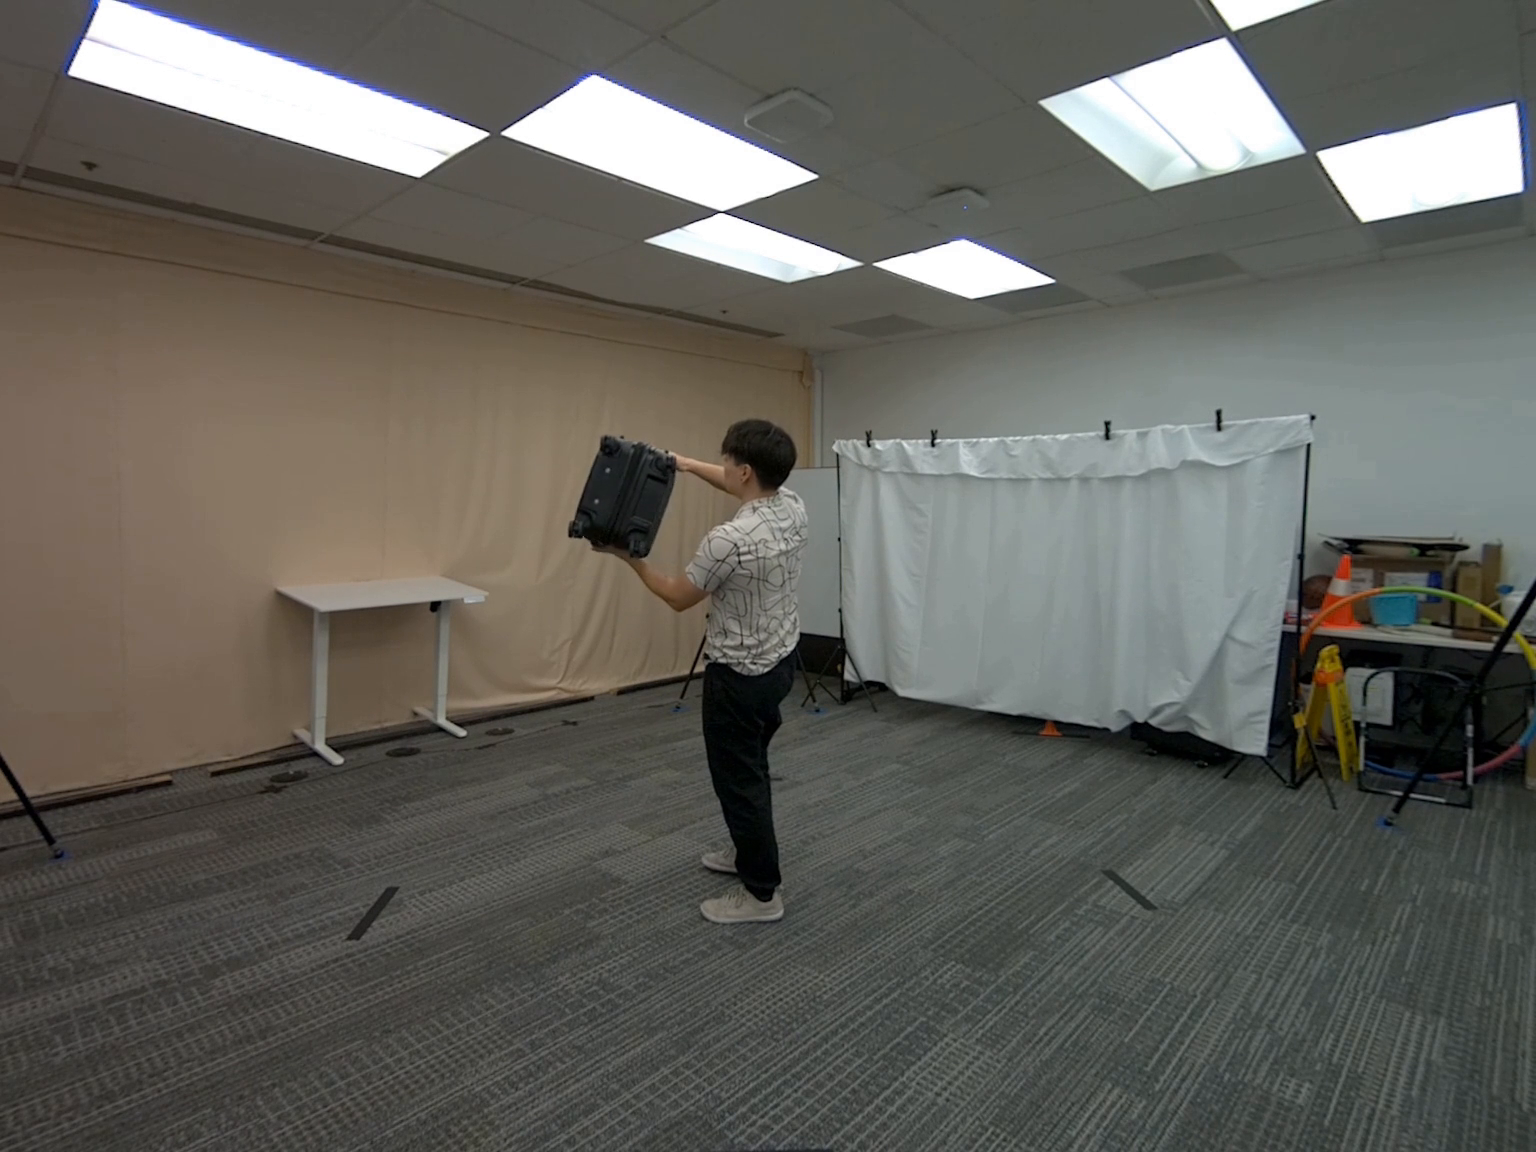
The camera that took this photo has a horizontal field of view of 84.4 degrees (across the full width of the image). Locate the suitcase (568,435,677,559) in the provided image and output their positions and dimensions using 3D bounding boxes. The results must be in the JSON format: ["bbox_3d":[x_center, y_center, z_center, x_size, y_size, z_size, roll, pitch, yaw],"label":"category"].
[{"bbox_3d":[-0.484,-0.255,2.920,0.247,0.375,0.551,18,-3,-4],"label":"suitcase"}]
